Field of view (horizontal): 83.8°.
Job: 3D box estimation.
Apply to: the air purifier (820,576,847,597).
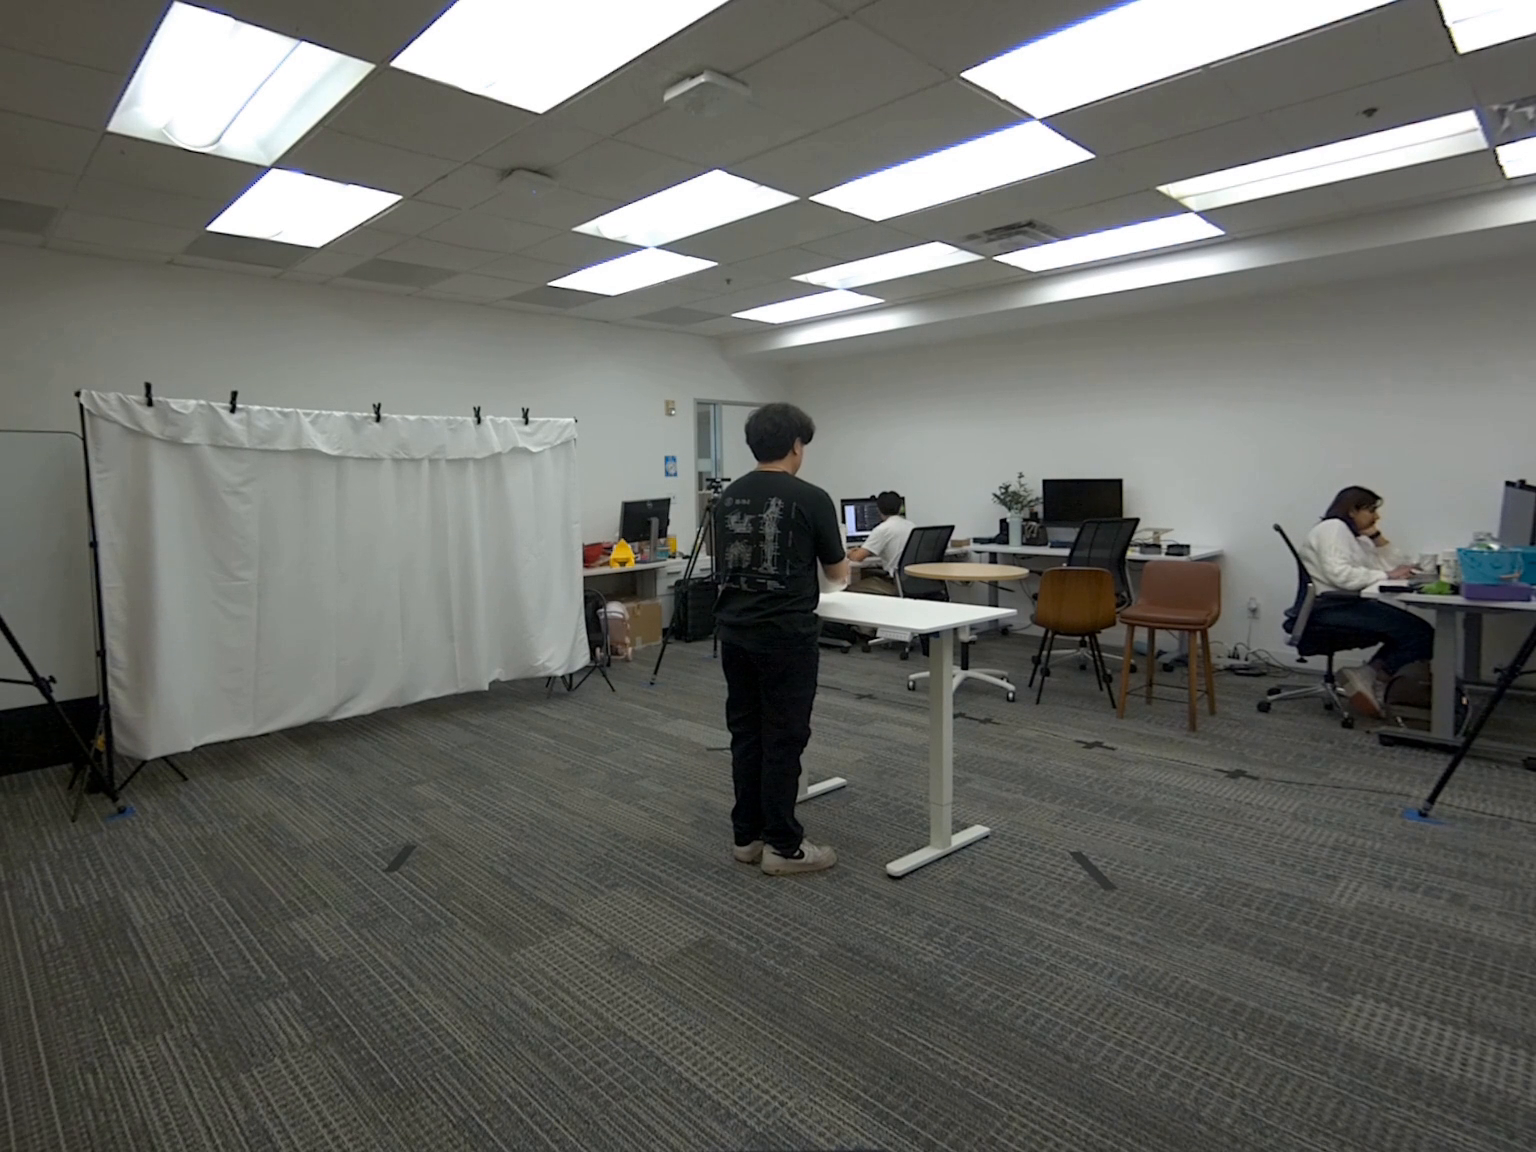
[{"bbox_3d":[0.228,-0.071,3.452,0.176,0.264,0.167,5,9,37],"label":"air purifier"}]
